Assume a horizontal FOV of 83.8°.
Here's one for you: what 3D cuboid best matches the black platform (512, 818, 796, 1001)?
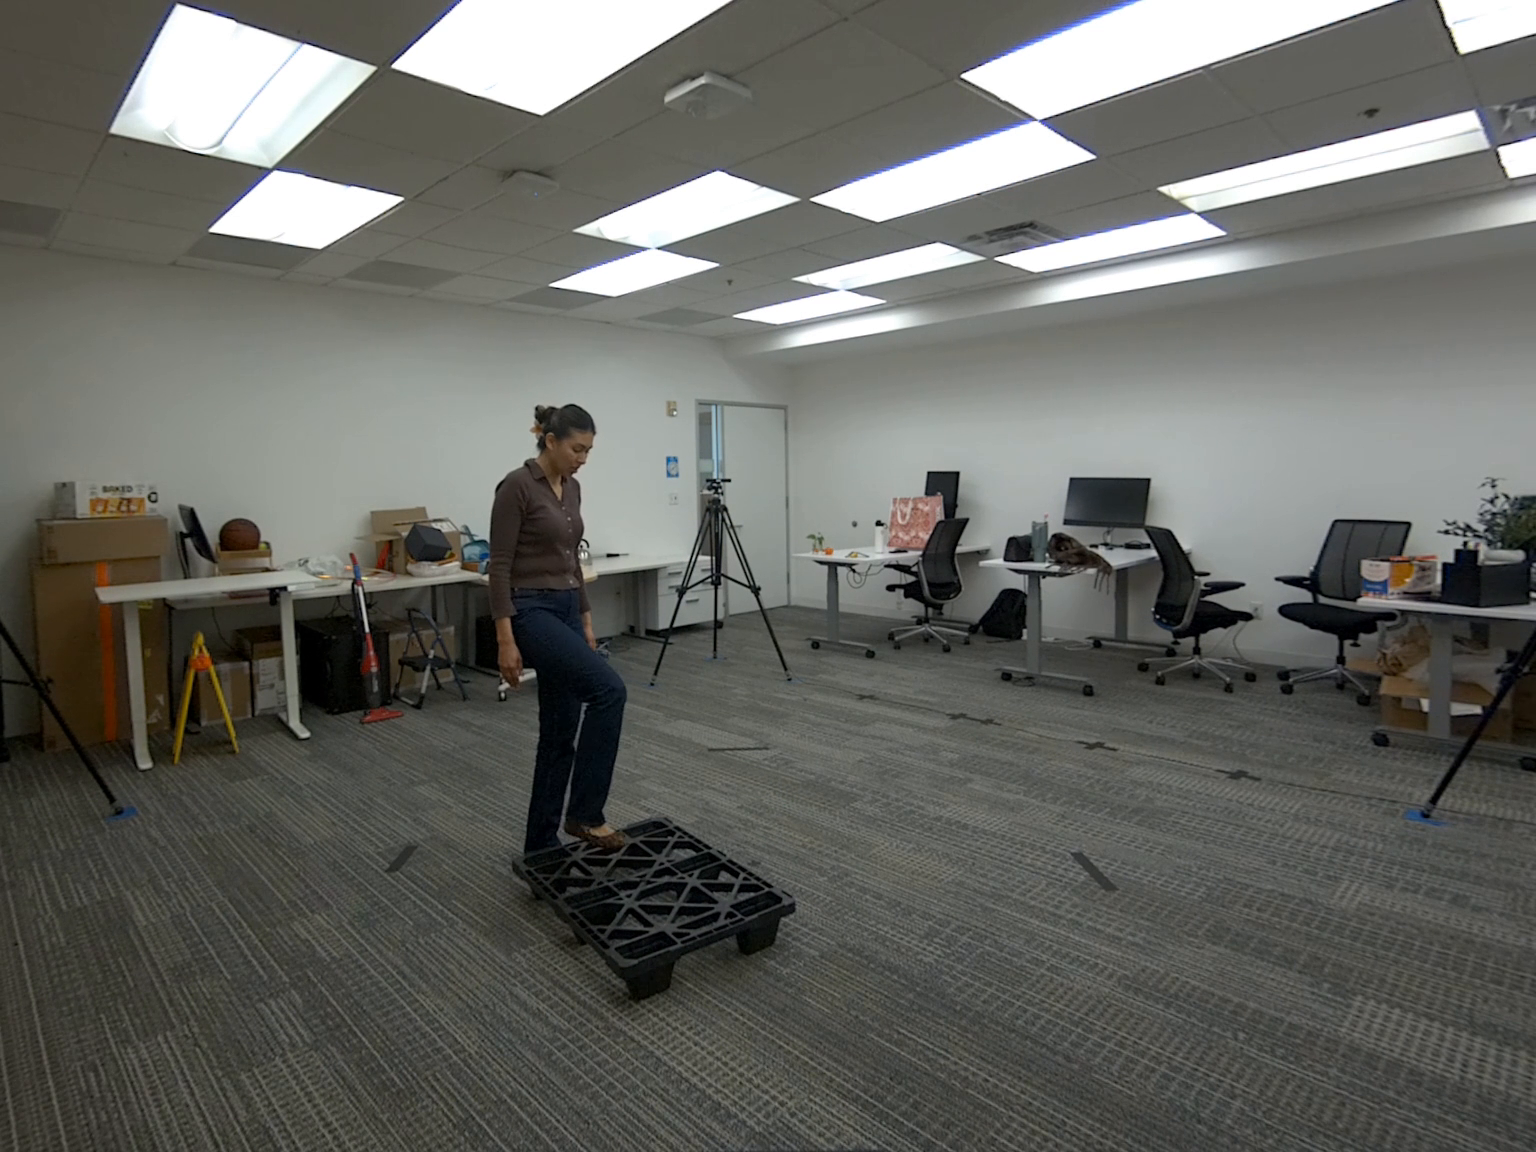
[{"bbox_3d":[-0.386,1.029,2.731,0.590,0.142,0.830,-5,8,-36],"label":"black platform"}]
